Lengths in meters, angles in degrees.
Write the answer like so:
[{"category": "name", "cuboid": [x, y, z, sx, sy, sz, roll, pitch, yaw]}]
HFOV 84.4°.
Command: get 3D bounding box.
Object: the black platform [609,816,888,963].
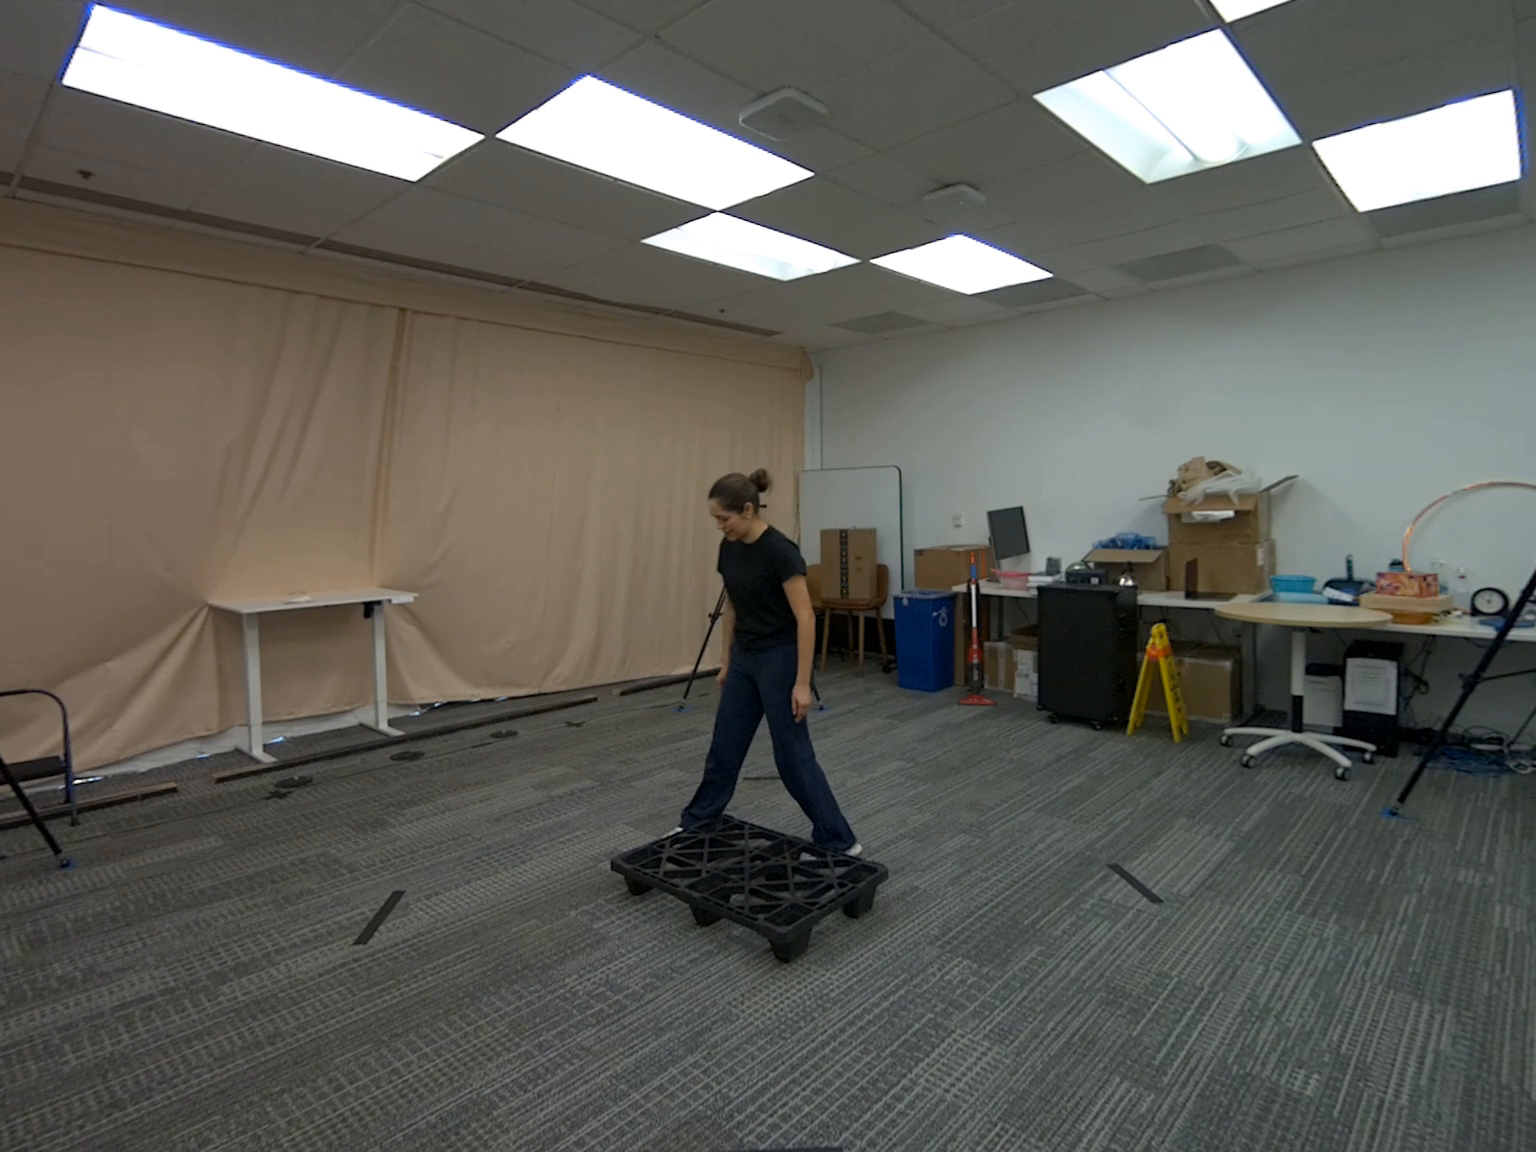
[{"category": "black platform", "cuboid": [-0.059, 1.080, 2.954, 0.832, 0.143, 0.587, 3, 7, 41]}]
